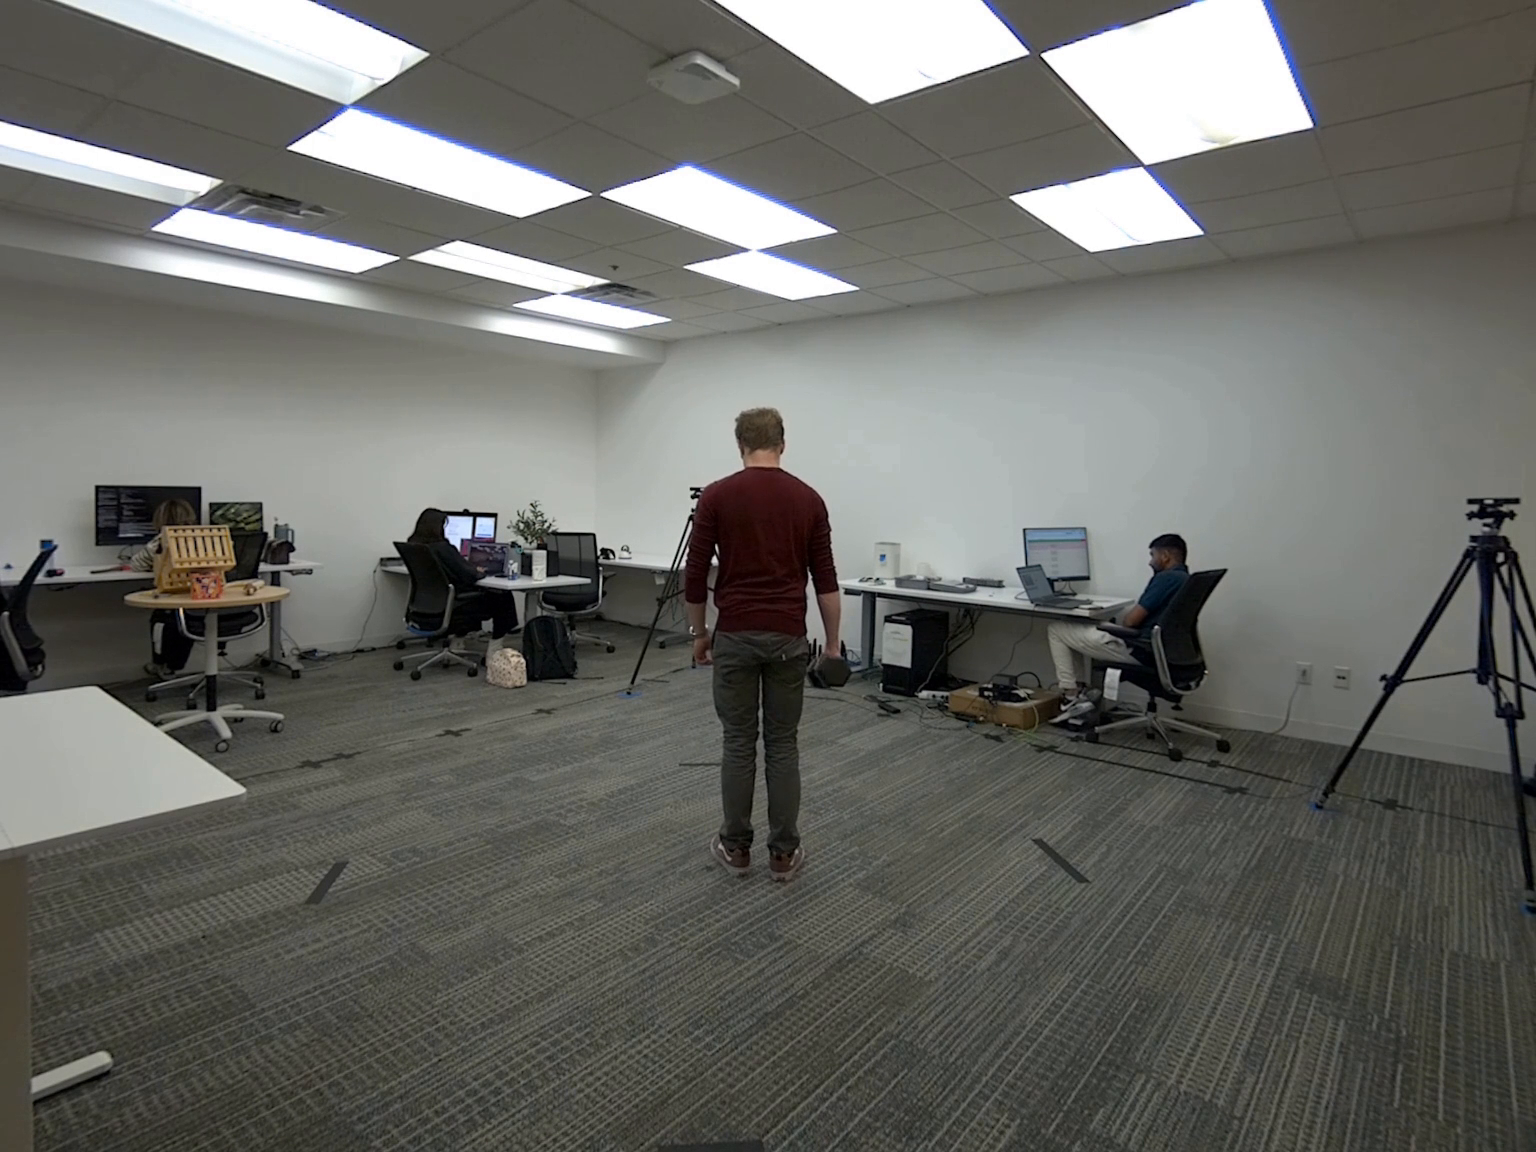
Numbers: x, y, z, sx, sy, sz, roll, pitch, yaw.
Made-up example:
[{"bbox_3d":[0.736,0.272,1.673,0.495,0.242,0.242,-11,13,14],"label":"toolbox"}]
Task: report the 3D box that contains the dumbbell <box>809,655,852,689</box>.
[{"bbox_3d":[0.210,0.352,3.163,0.108,0.124,0.293,-26,-3,-11],"label":"dumbbell"}]
